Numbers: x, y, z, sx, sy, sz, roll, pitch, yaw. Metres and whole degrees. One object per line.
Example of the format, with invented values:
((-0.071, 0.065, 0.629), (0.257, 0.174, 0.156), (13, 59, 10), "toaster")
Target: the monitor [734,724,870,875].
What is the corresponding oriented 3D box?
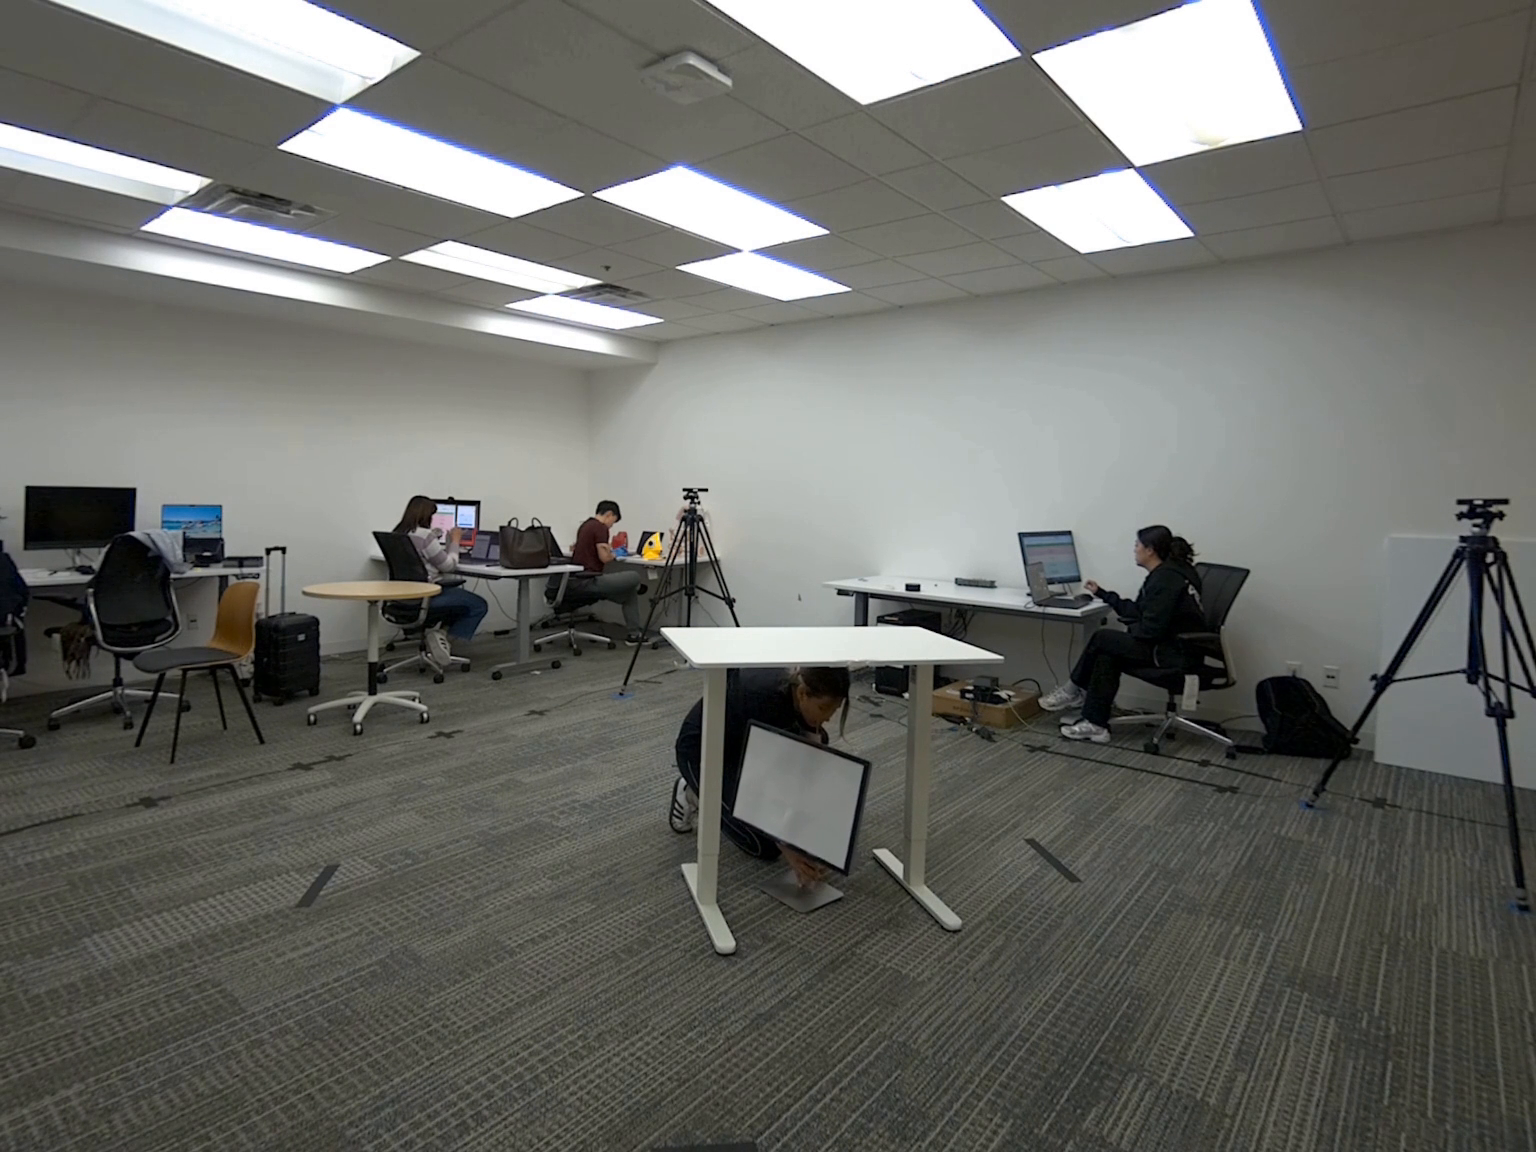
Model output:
((0.118, 0.820, 2.921), (0.181, 0.520, 0.558), (-3, 7, -44), "monitor")
